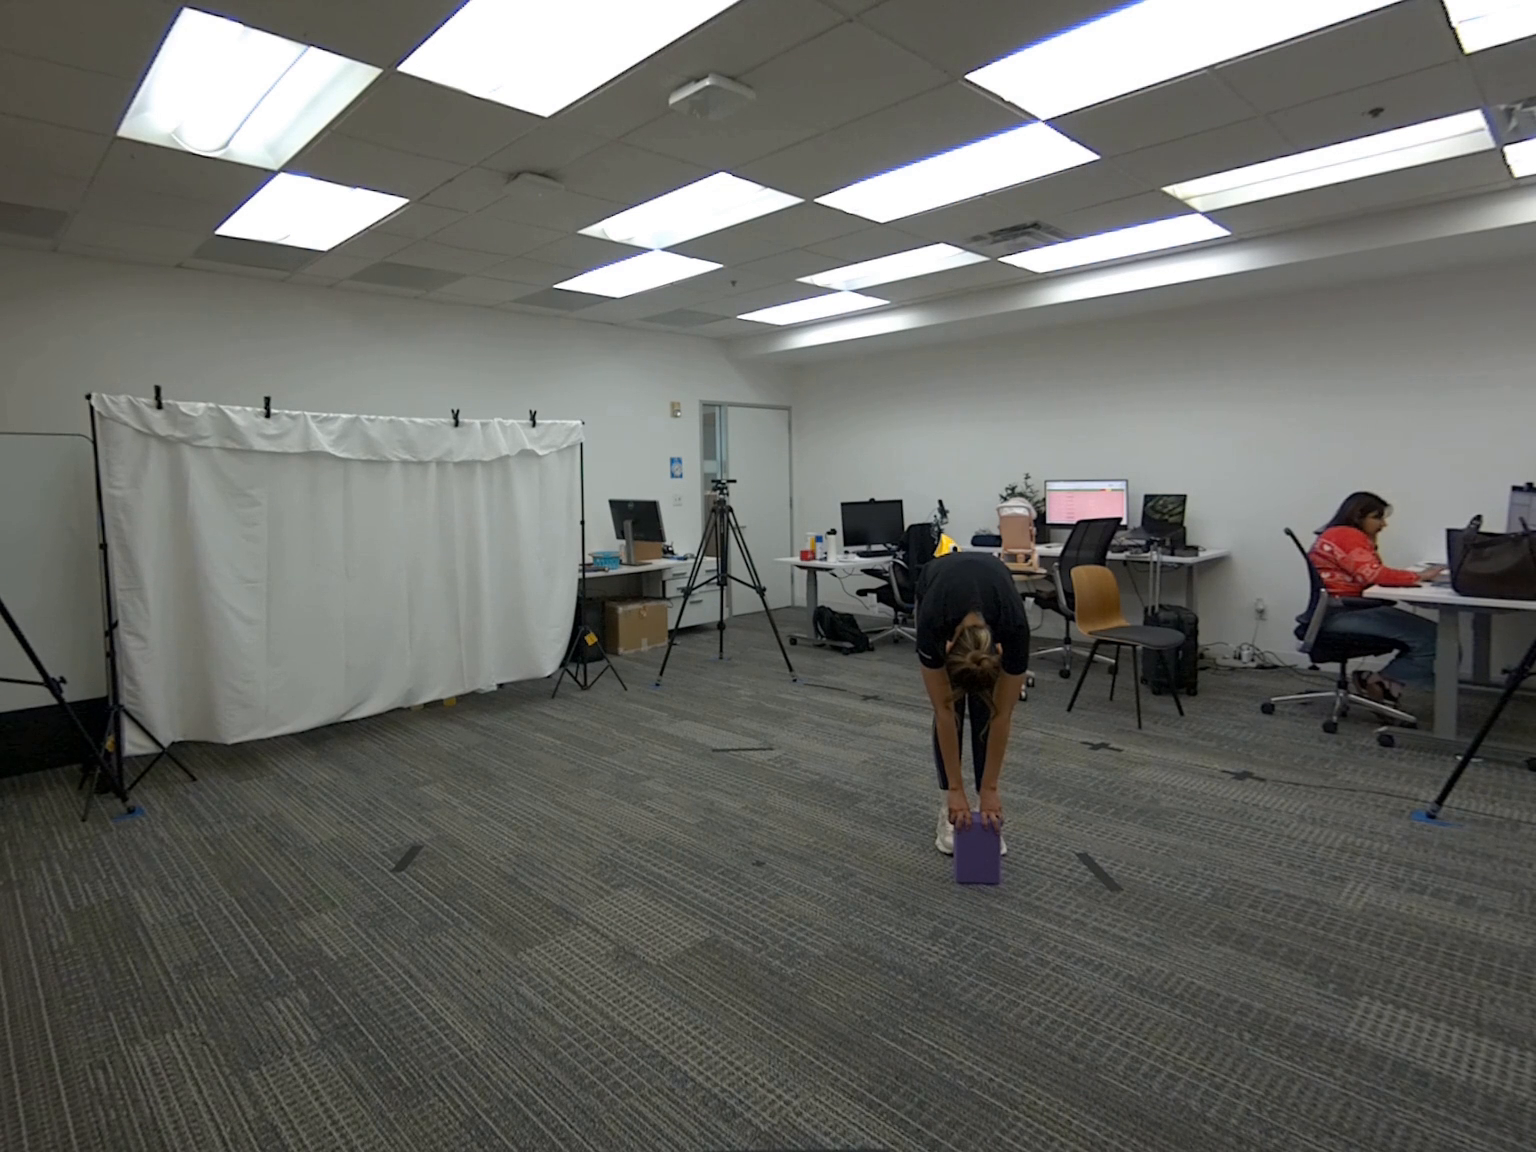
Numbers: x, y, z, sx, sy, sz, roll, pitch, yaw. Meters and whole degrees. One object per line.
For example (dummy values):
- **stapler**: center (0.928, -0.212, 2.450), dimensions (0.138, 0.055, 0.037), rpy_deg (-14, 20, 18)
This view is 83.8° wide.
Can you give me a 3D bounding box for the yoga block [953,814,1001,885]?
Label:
- **yoga block**: center (0.724, 0.945, 2.943), dimensions (0.150, 0.229, 0.076), rpy_deg (-3, 2, 5)
